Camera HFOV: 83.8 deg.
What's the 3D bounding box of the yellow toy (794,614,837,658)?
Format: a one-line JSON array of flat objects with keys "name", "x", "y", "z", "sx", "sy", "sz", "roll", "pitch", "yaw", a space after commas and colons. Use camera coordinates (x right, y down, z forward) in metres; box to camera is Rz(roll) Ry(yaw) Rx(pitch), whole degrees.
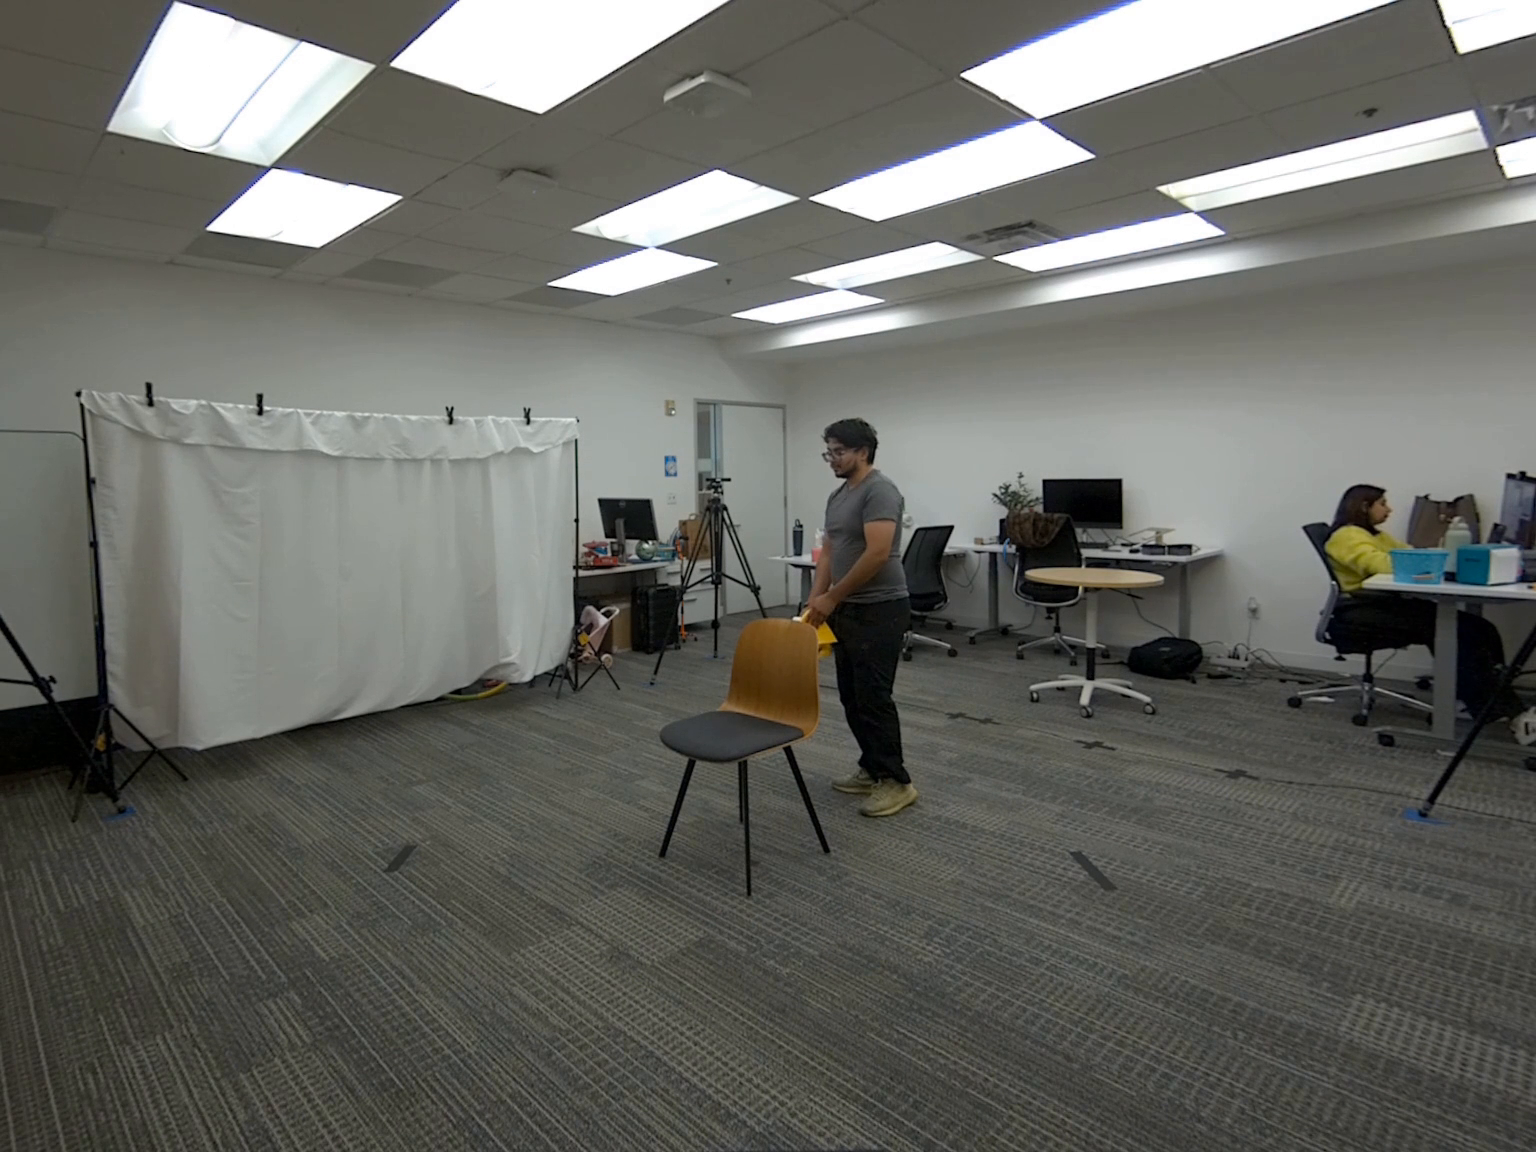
[{"name": "yellow toy", "x": 0.178, "y": 0.217, "z": 3.634, "sx": 0.203, "sy": 0.226, "sz": 0.199, "roll": -6, "pitch": 22, "yaw": -13}]
